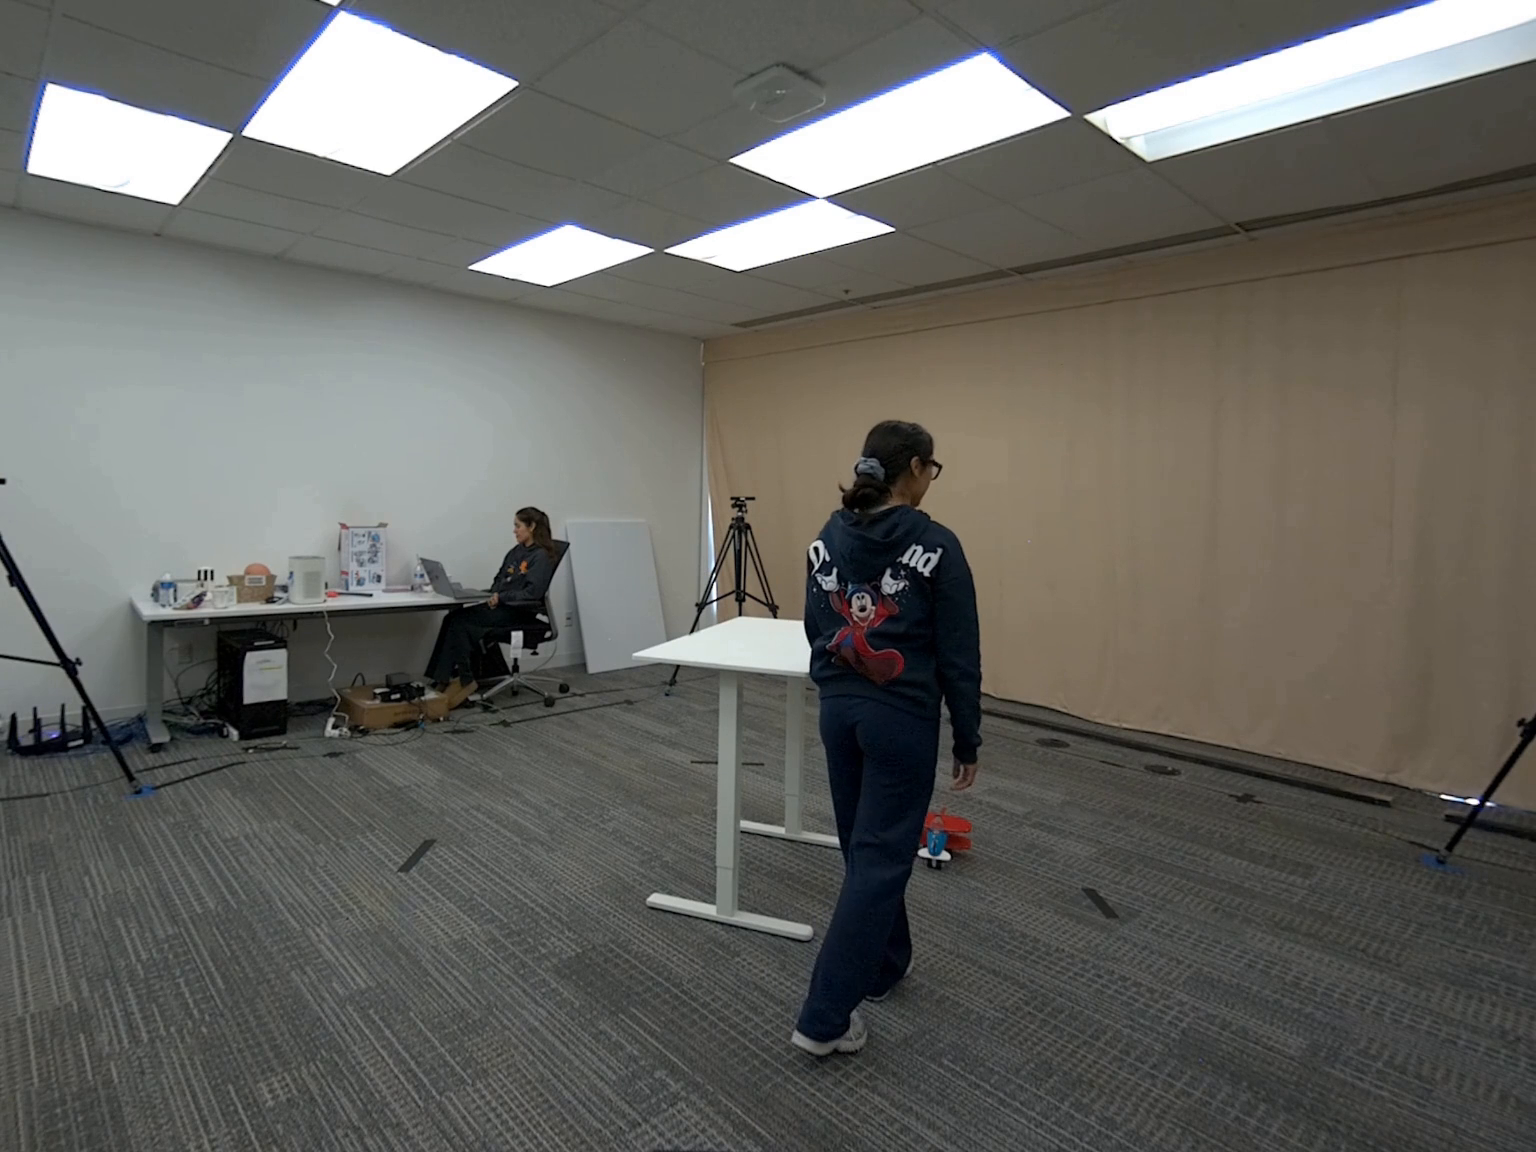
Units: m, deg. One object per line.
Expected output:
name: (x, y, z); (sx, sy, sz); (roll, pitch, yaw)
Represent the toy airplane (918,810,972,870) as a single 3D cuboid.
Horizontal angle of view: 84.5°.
toy airplane: (0.673, 1.034, 3.318); (0.248, 0.156, 0.262); (1, 2, -13)
